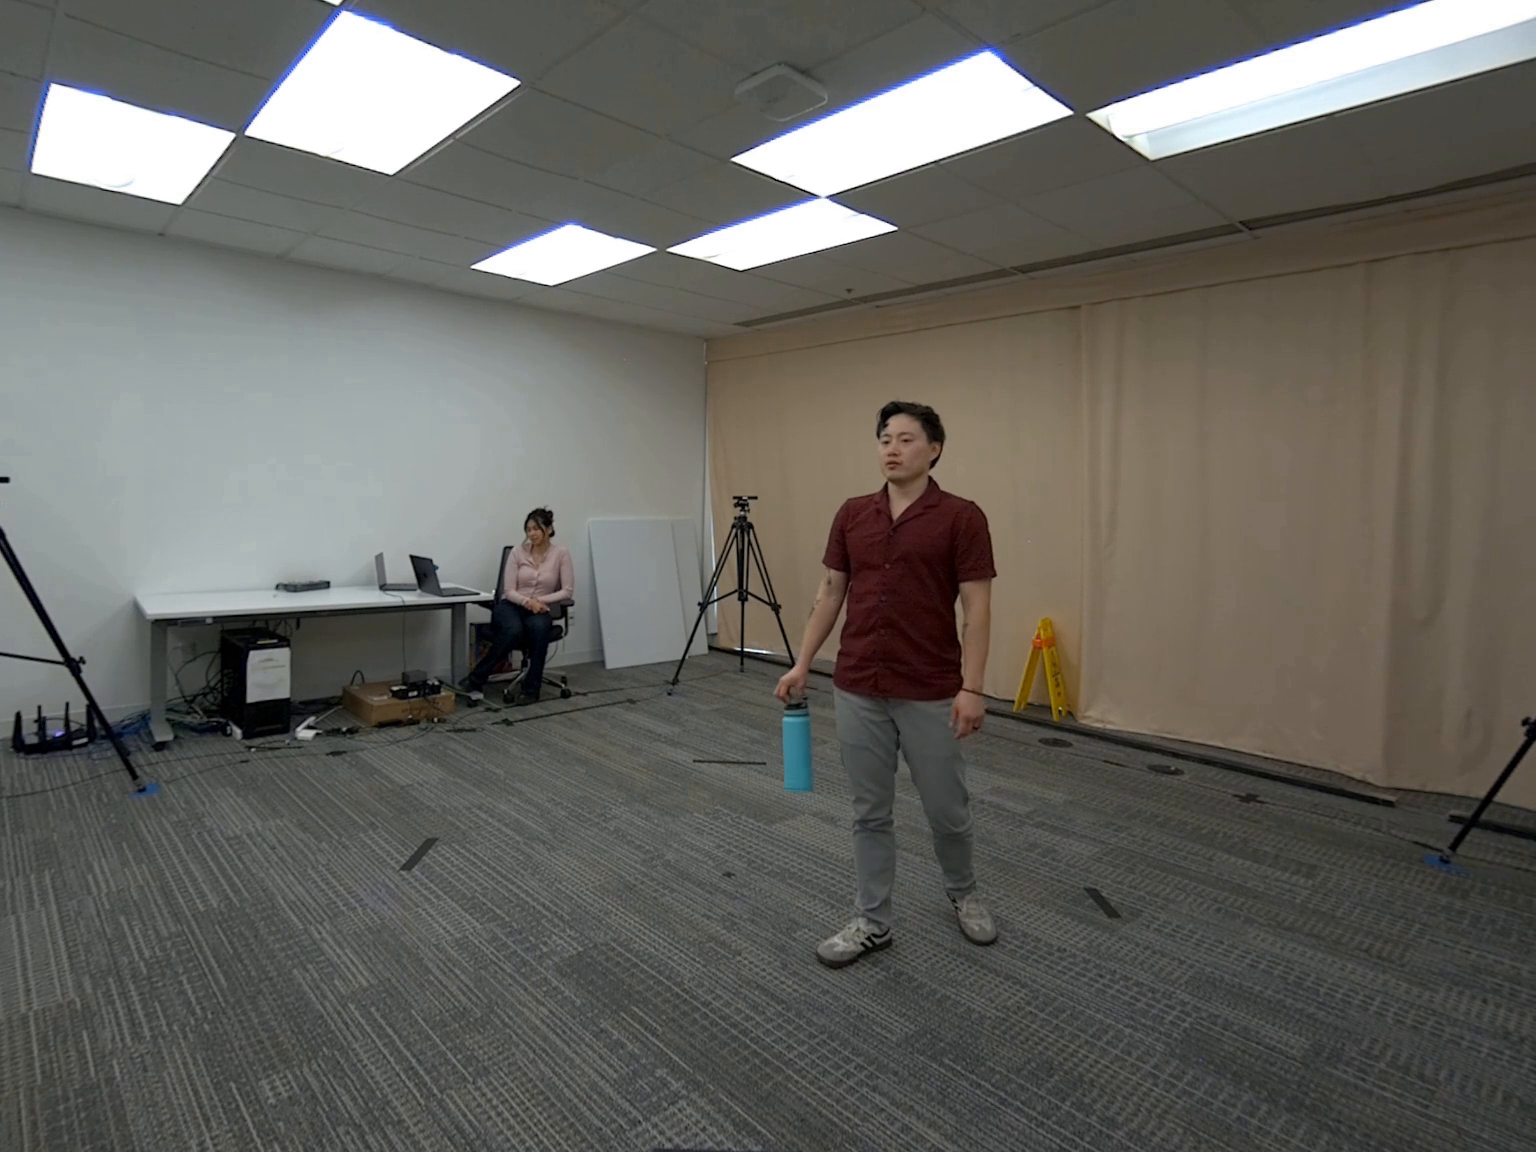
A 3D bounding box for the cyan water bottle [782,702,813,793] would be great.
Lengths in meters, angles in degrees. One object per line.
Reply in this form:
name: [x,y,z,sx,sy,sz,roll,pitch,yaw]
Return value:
cyan water bottle: [0.094,0.529,2.642,0.092,0.285,0.092,-3,-6,-2]
